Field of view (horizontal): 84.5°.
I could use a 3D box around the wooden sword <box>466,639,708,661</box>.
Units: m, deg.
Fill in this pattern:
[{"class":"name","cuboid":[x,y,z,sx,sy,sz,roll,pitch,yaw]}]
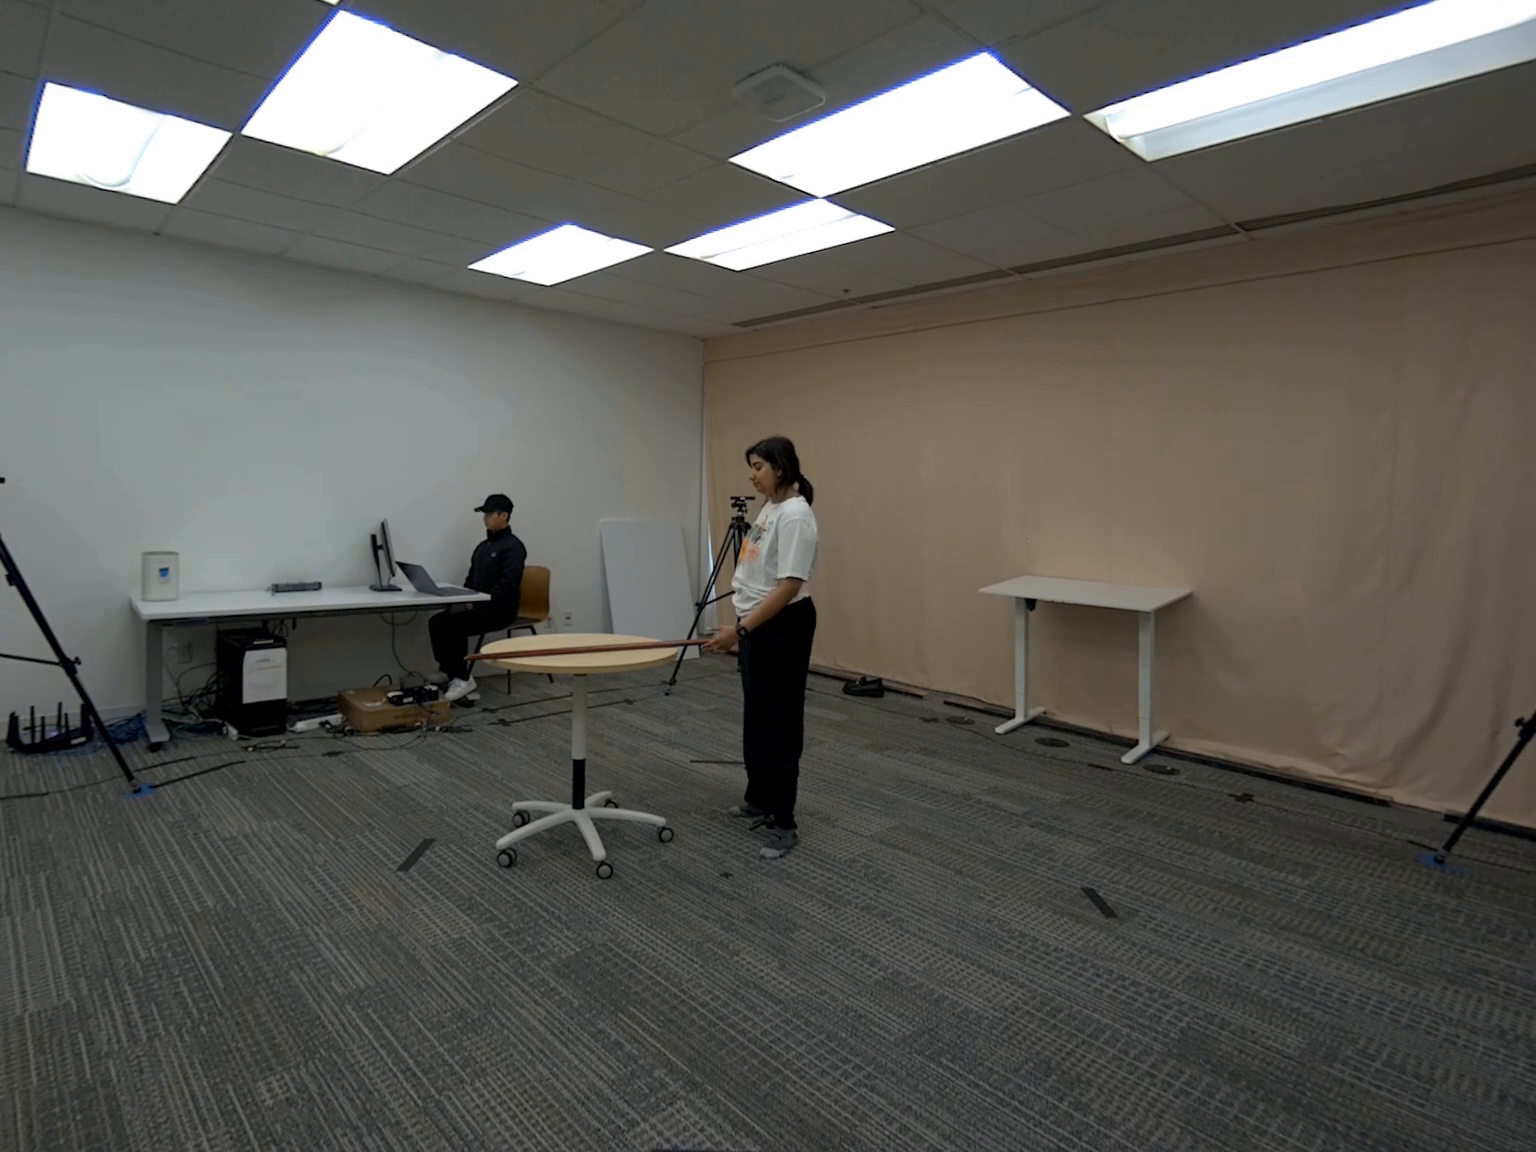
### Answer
[{"class":"wooden sword","cuboid":[-0.642,0.287,3.226,1.006,0.052,0.024,0,-24,-26]}]
